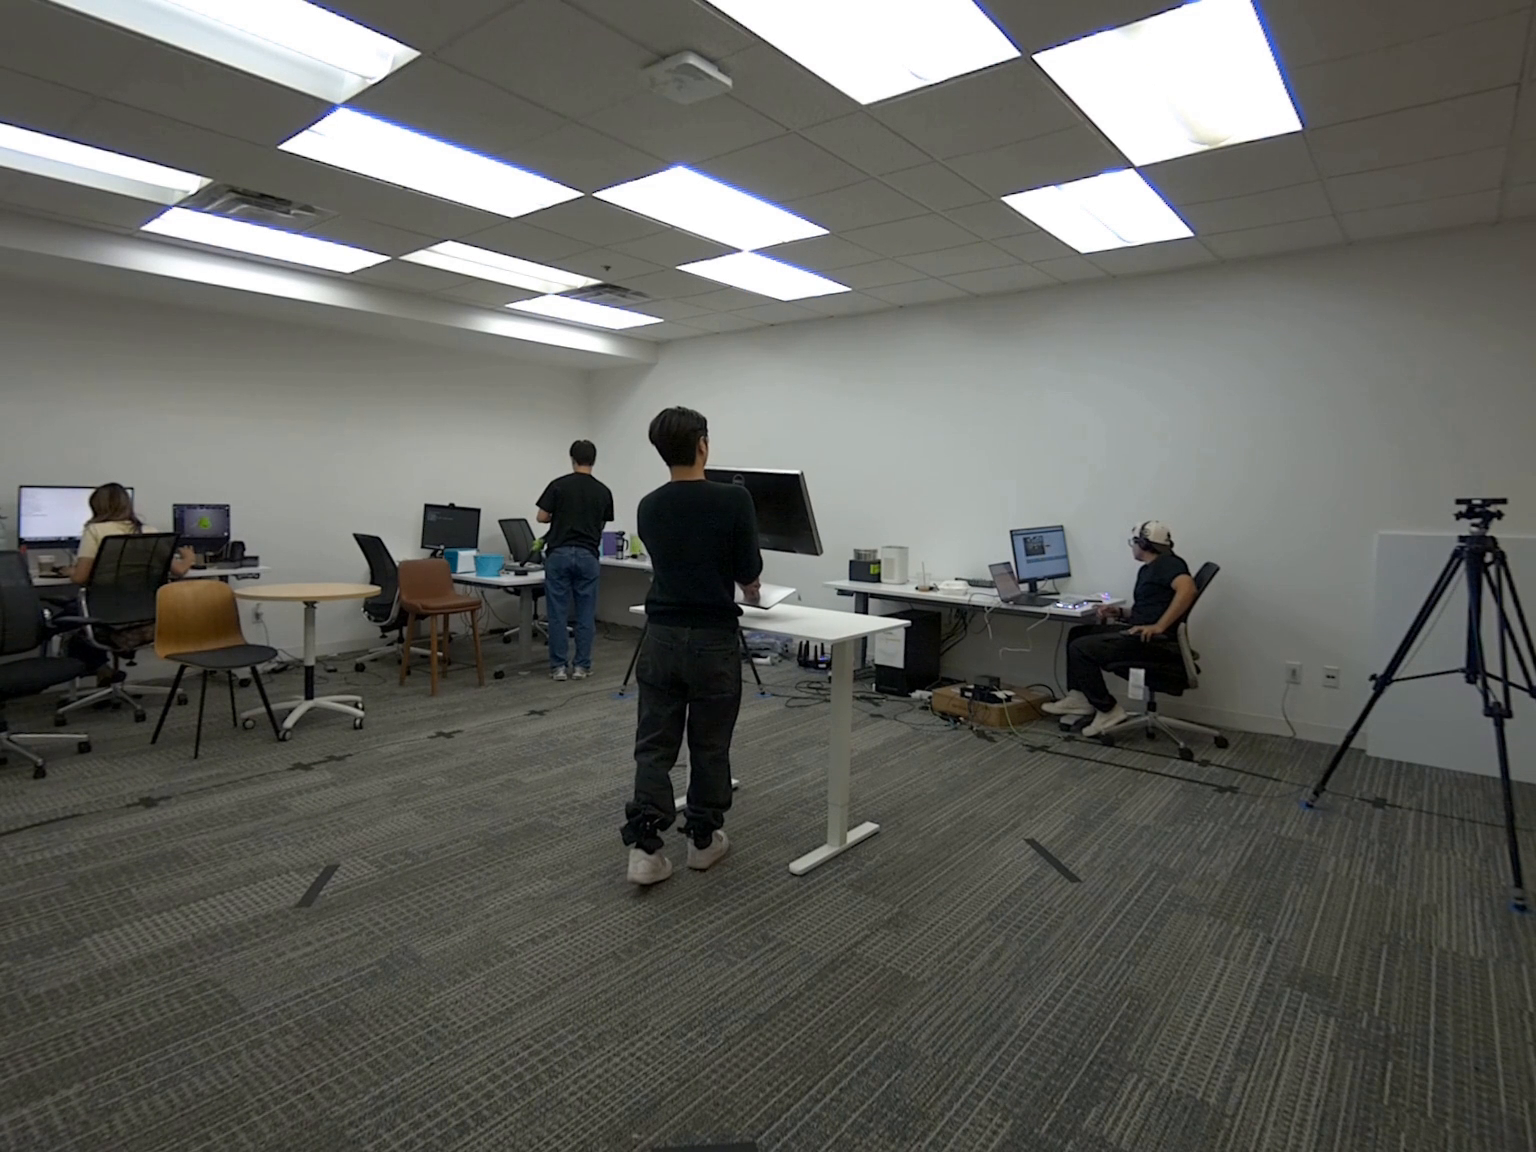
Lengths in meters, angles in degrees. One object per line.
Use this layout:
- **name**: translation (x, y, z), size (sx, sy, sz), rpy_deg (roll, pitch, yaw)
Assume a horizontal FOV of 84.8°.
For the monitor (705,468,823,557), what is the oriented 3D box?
- **monitor**: translation (-0.083, -0.166, 3.357), size (0.557, 0.513, 0.184), rpy_deg (7, 21, 36)
